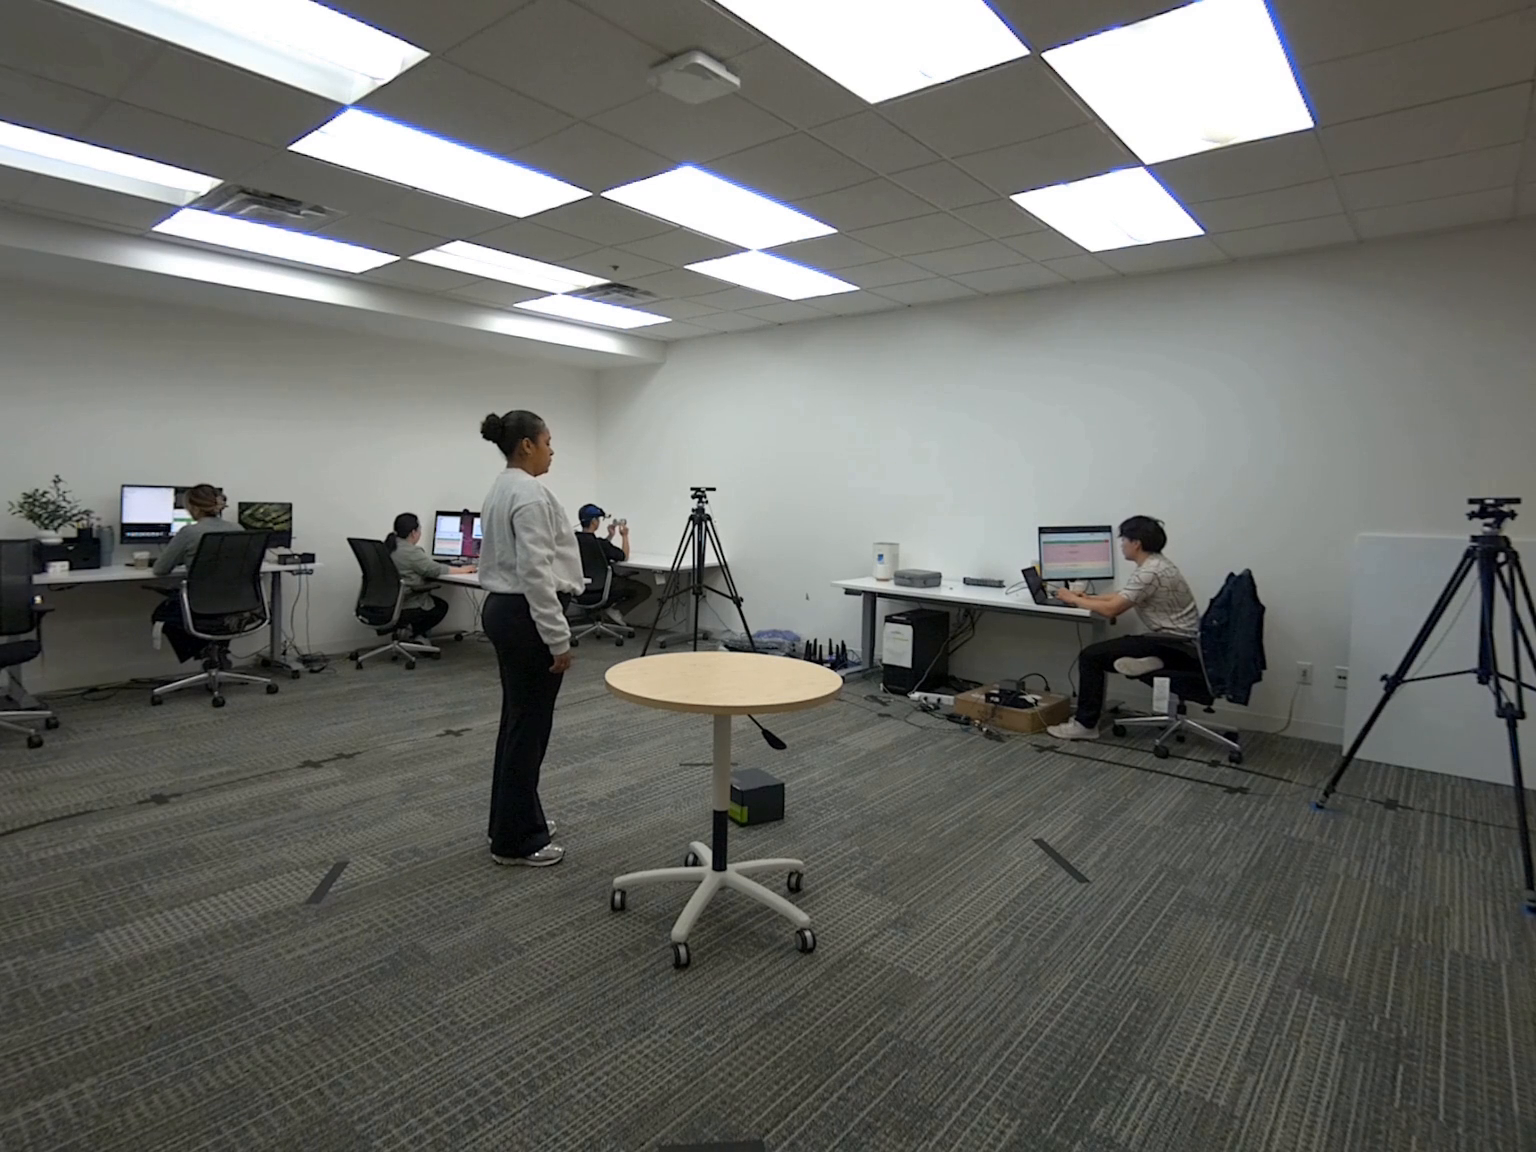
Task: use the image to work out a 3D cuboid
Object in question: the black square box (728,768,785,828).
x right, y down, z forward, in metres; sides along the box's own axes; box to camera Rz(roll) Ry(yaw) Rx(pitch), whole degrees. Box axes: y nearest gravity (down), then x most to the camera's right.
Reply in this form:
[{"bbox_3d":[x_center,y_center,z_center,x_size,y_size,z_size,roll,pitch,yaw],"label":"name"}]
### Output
[{"bbox_3d":[-0.090,0.933,3.634,0.211,0.155,0.235,-2,6,-31],"label":"black square box"}]
